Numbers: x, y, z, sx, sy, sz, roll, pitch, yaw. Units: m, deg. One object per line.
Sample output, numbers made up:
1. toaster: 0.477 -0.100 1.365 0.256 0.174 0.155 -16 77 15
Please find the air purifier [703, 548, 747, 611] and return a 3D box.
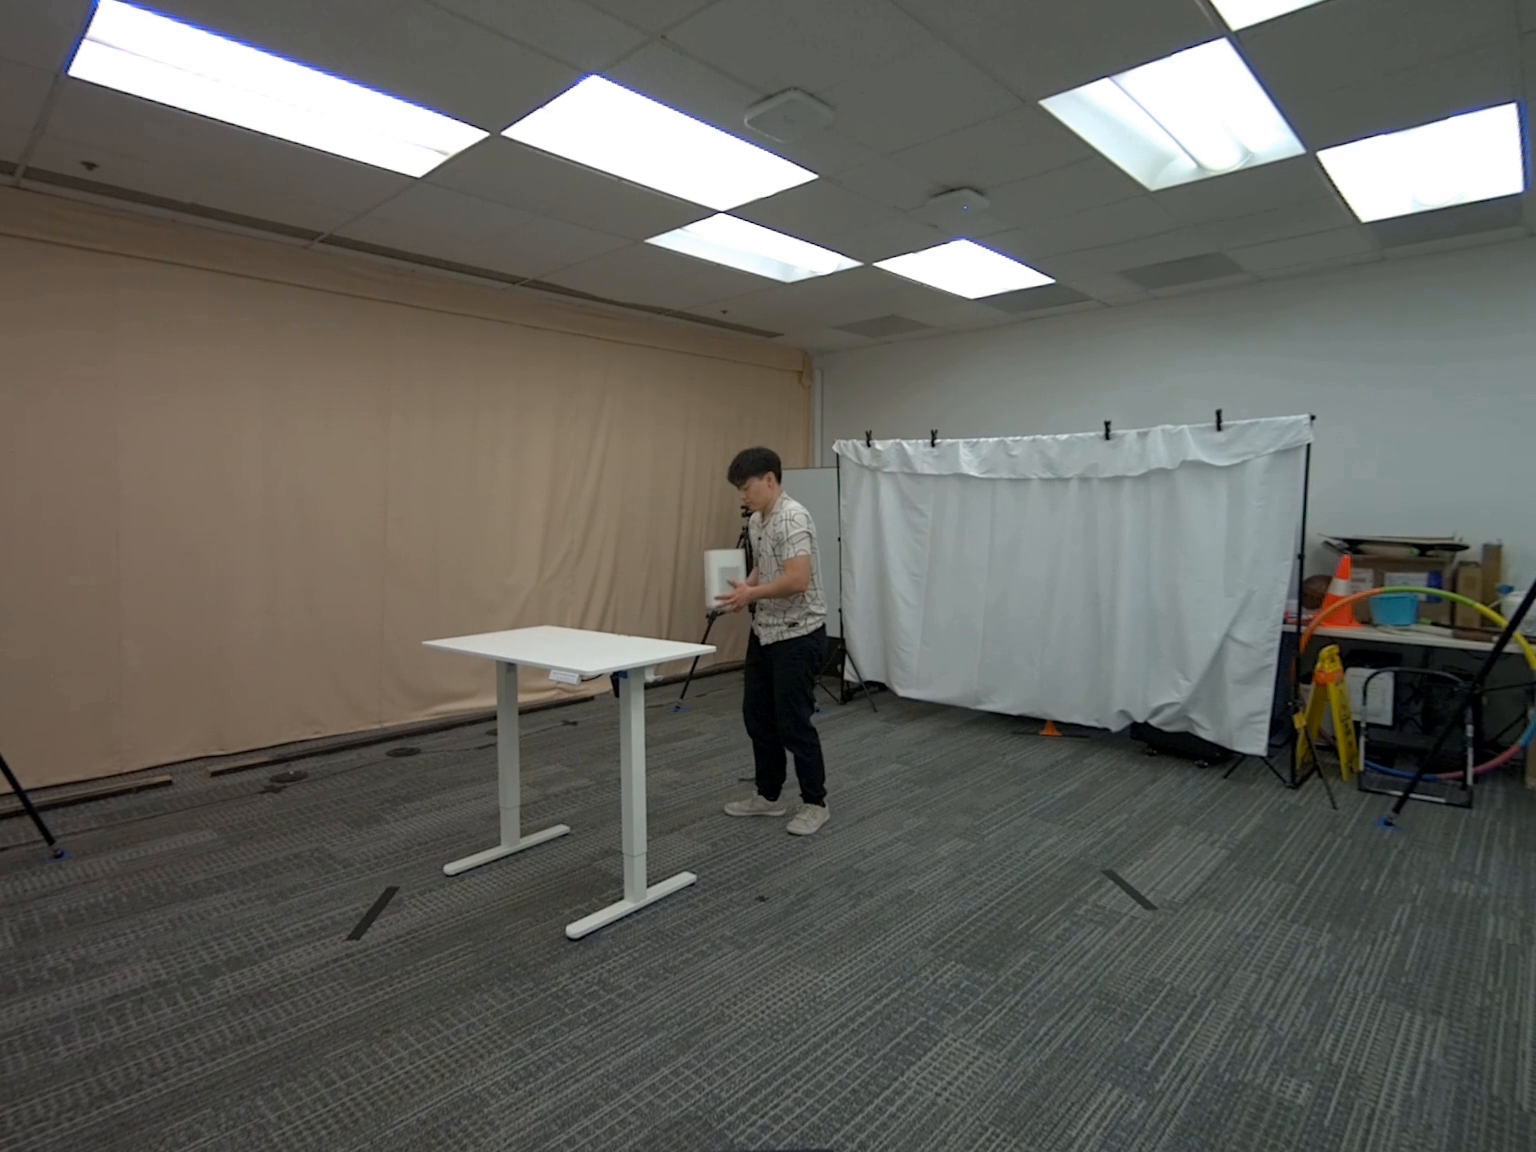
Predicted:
1. air purifier: -0.185 0.017 3.693 0.168 0.265 0.174 -1 -1 -17
